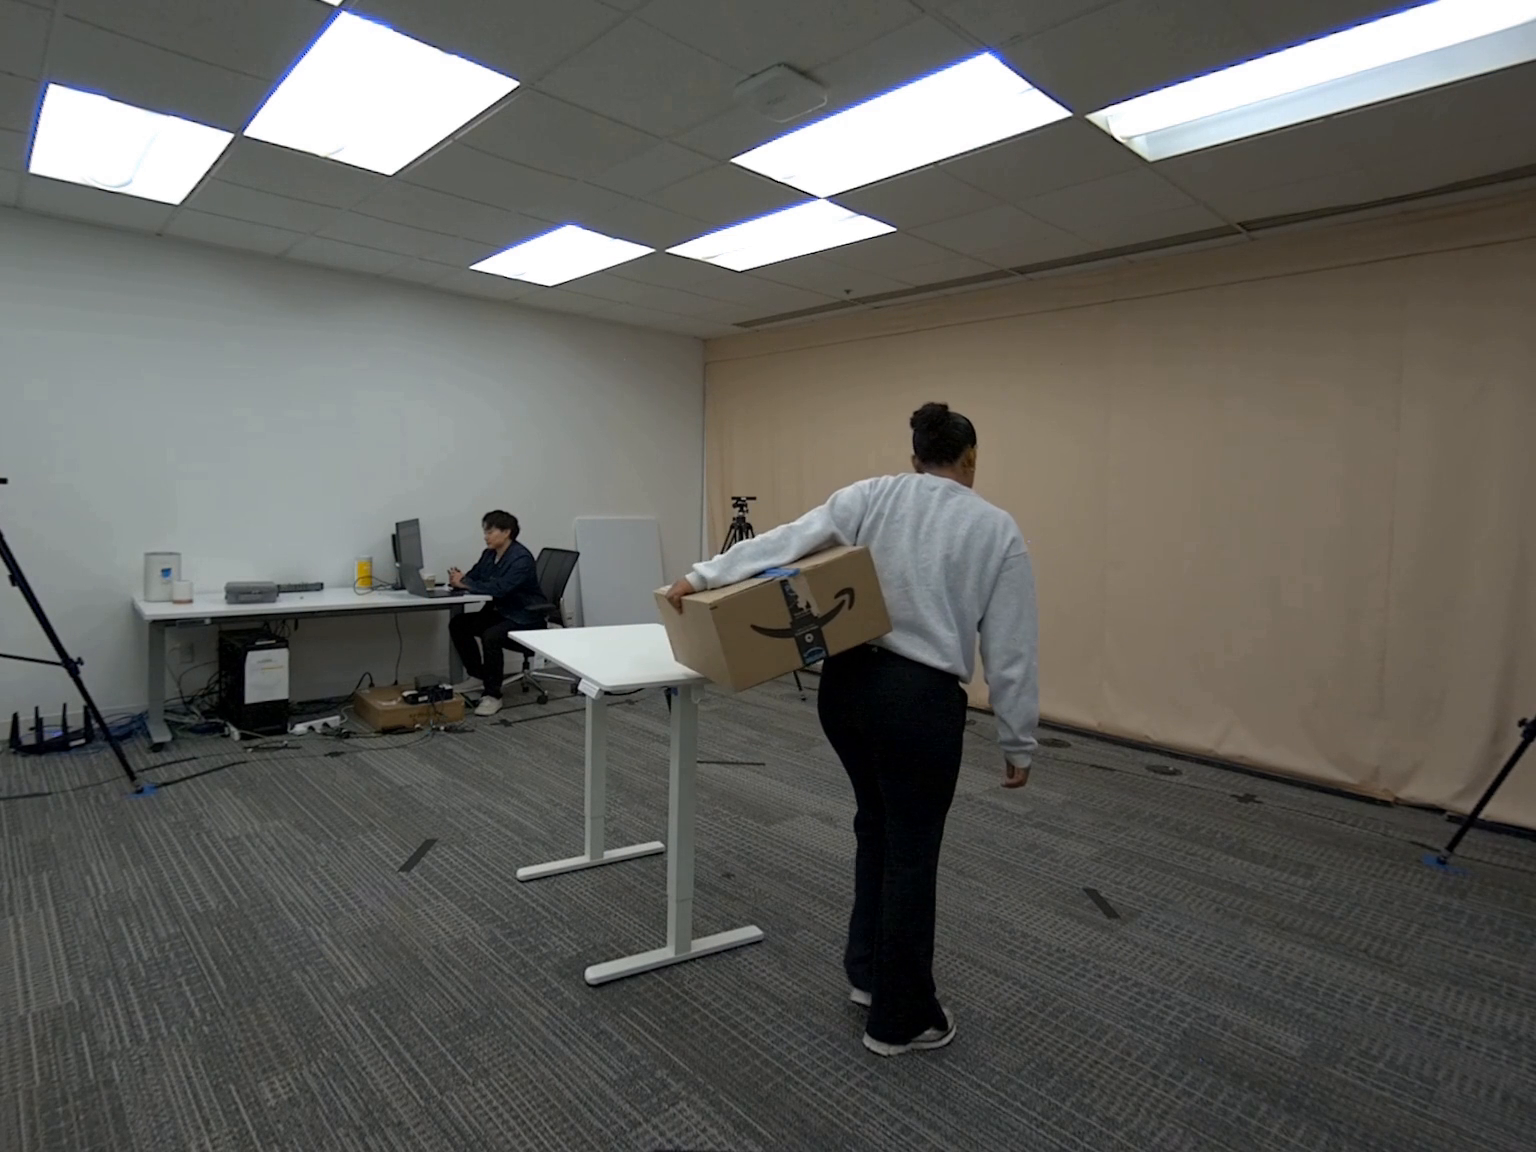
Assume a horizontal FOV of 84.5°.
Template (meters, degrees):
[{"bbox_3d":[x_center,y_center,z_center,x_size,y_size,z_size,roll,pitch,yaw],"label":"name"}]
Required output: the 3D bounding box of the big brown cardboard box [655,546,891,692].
[{"bbox_3d":[-0.029,0.090,2.209,0.414,0.232,0.597,-19,8,-17],"label":"big brown cardboard box"}]
